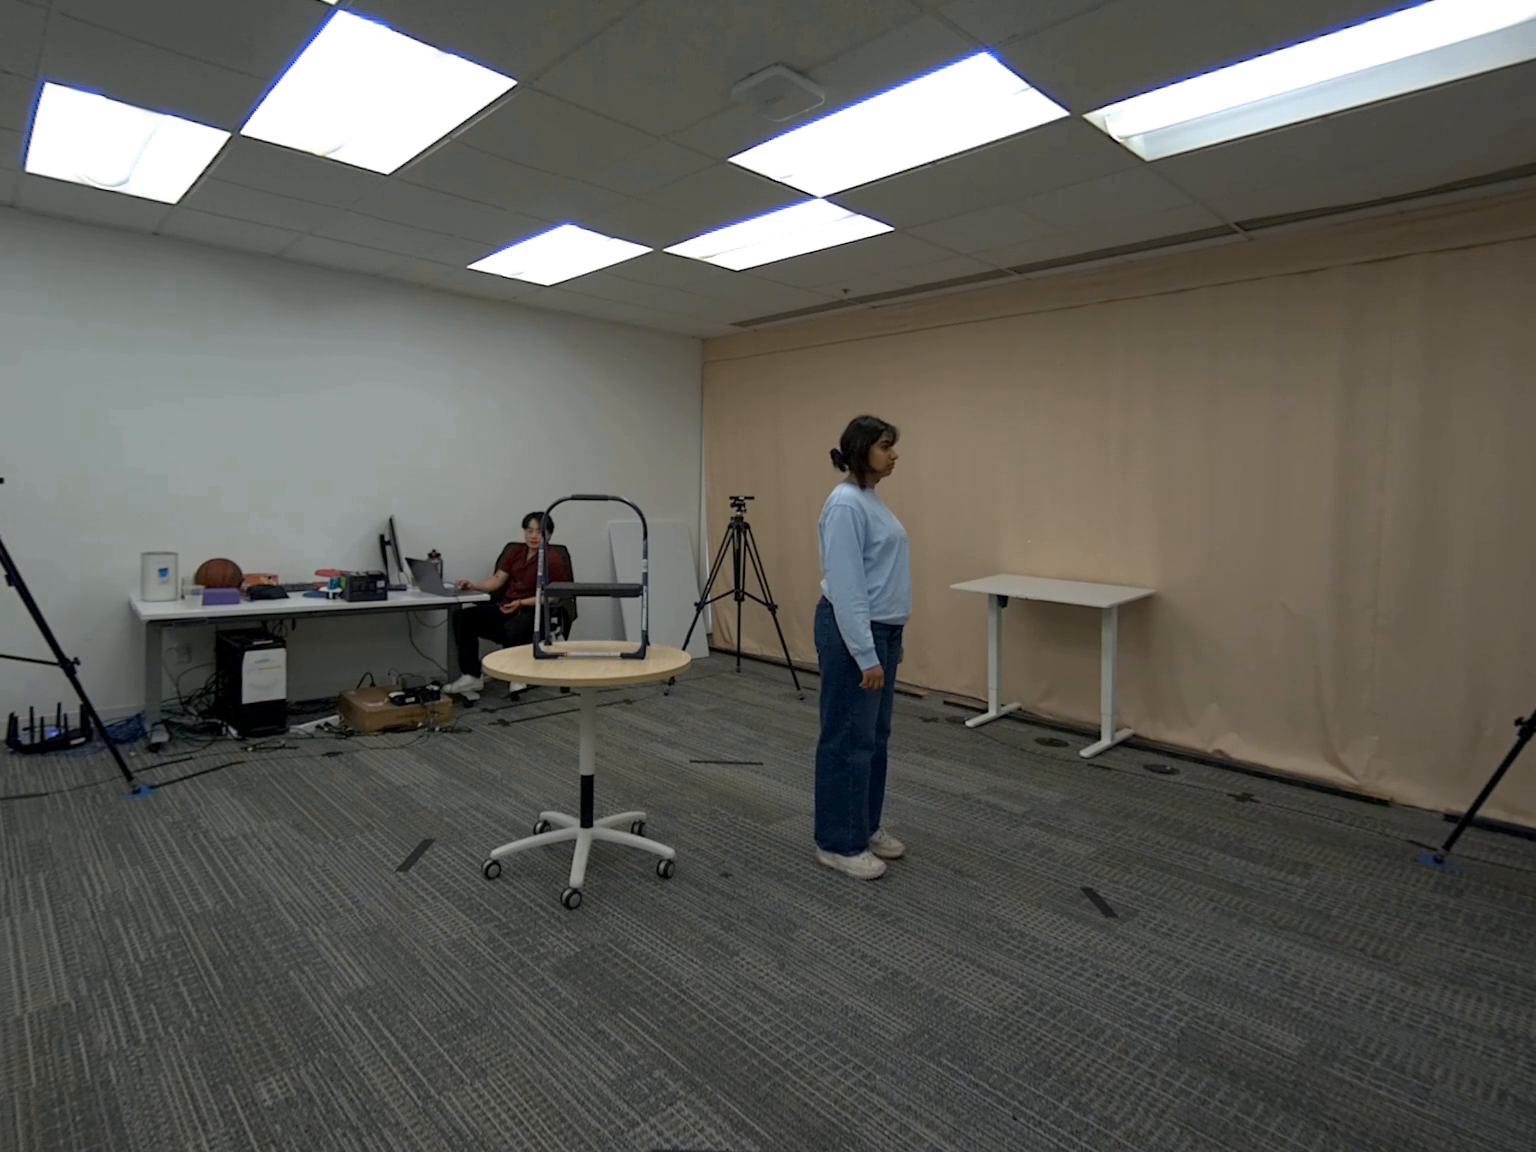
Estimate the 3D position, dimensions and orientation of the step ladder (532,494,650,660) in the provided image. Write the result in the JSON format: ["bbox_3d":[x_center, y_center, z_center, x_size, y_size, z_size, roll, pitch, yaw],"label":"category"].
[{"bbox_3d":[-0.681,-0.008,3.253,0.429,0.605,0.351,1,1,-5],"label":"step ladder"}]
